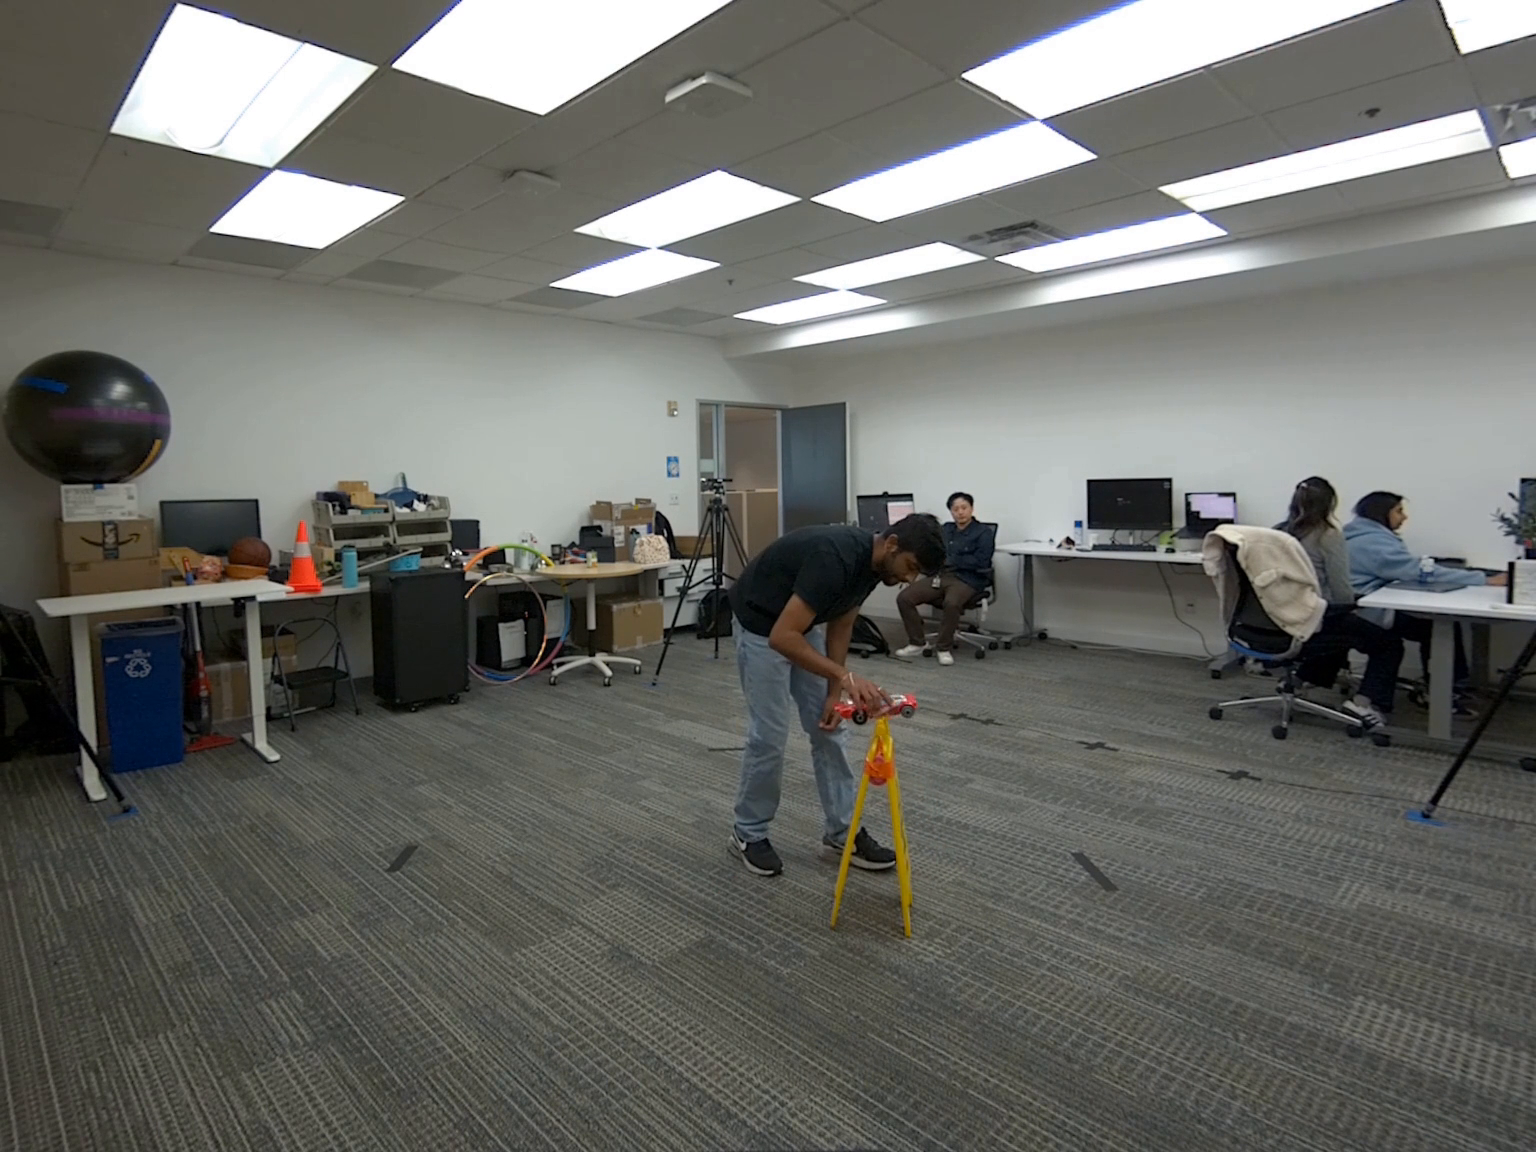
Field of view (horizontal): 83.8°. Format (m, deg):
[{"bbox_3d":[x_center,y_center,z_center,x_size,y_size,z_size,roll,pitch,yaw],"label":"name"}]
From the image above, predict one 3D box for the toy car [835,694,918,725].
[{"bbox_3d":[0.330,0.420,2.666,0.255,0.083,0.130,3,6,2],"label":"toy car"}]
